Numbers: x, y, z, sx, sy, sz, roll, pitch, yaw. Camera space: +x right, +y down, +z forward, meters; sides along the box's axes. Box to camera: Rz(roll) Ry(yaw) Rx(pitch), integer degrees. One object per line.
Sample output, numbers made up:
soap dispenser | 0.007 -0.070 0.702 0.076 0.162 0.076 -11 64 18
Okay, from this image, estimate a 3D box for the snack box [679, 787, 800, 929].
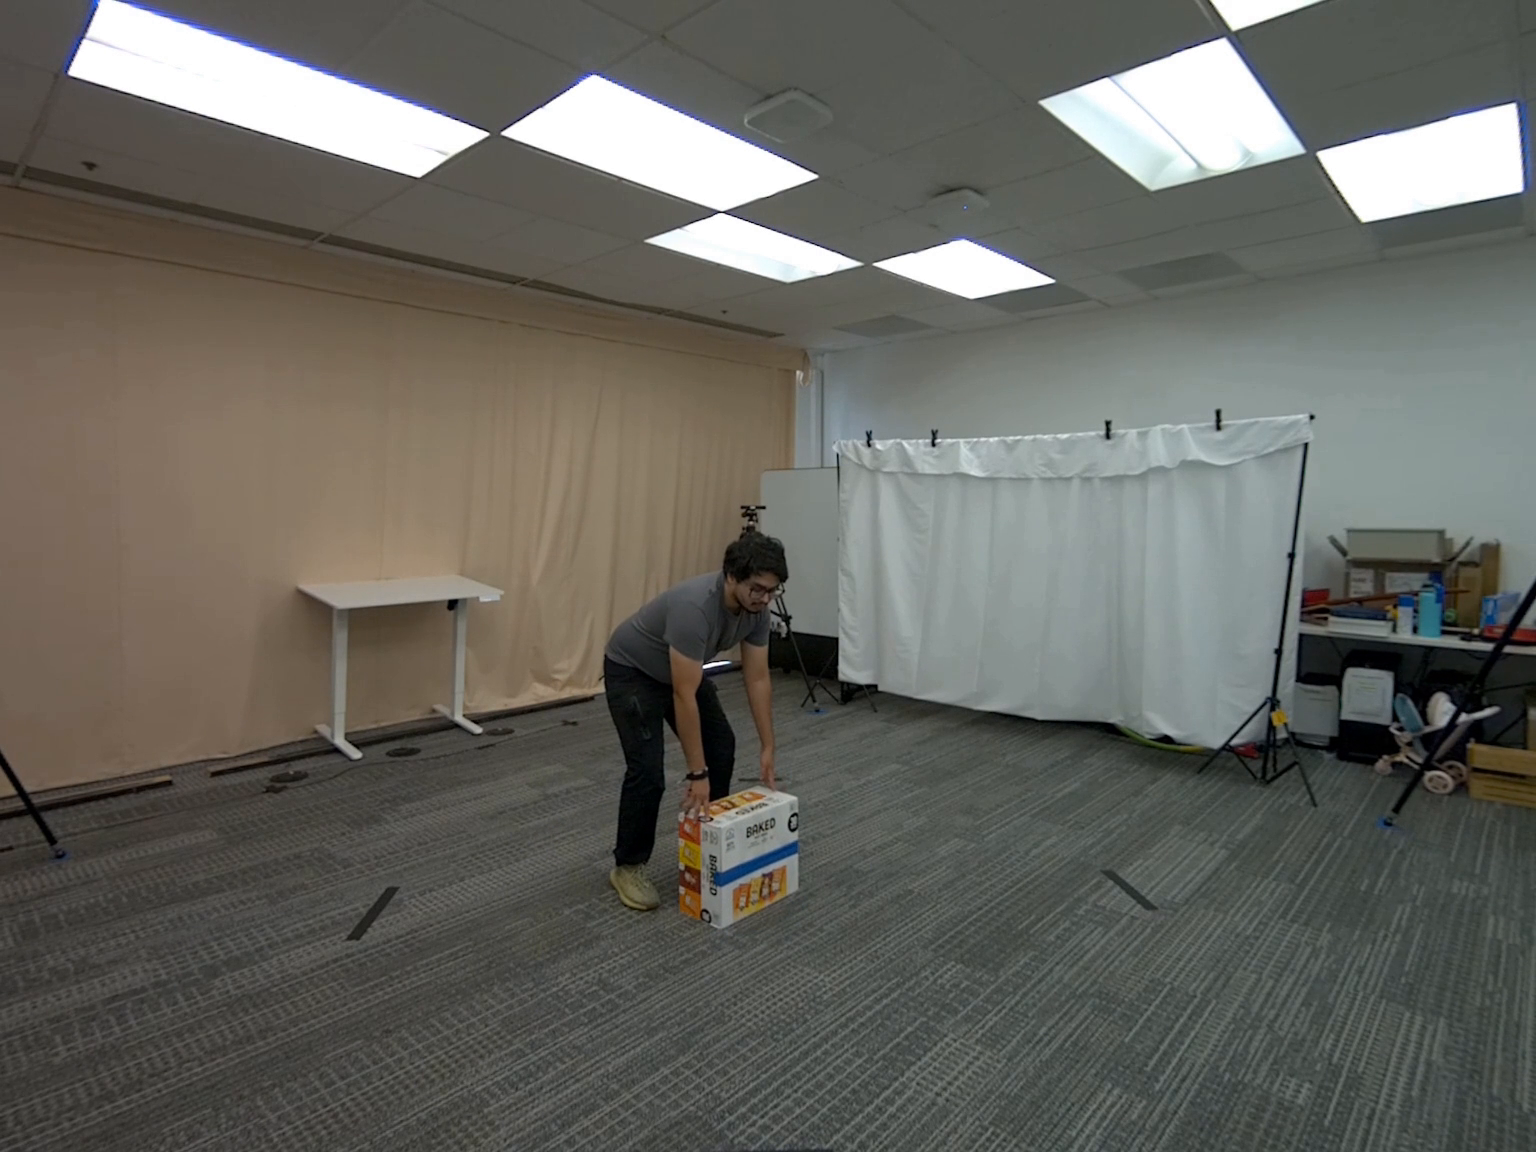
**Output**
snack box | -0.095 0.973 2.969 0.212 0.340 0.393 2 4 43
